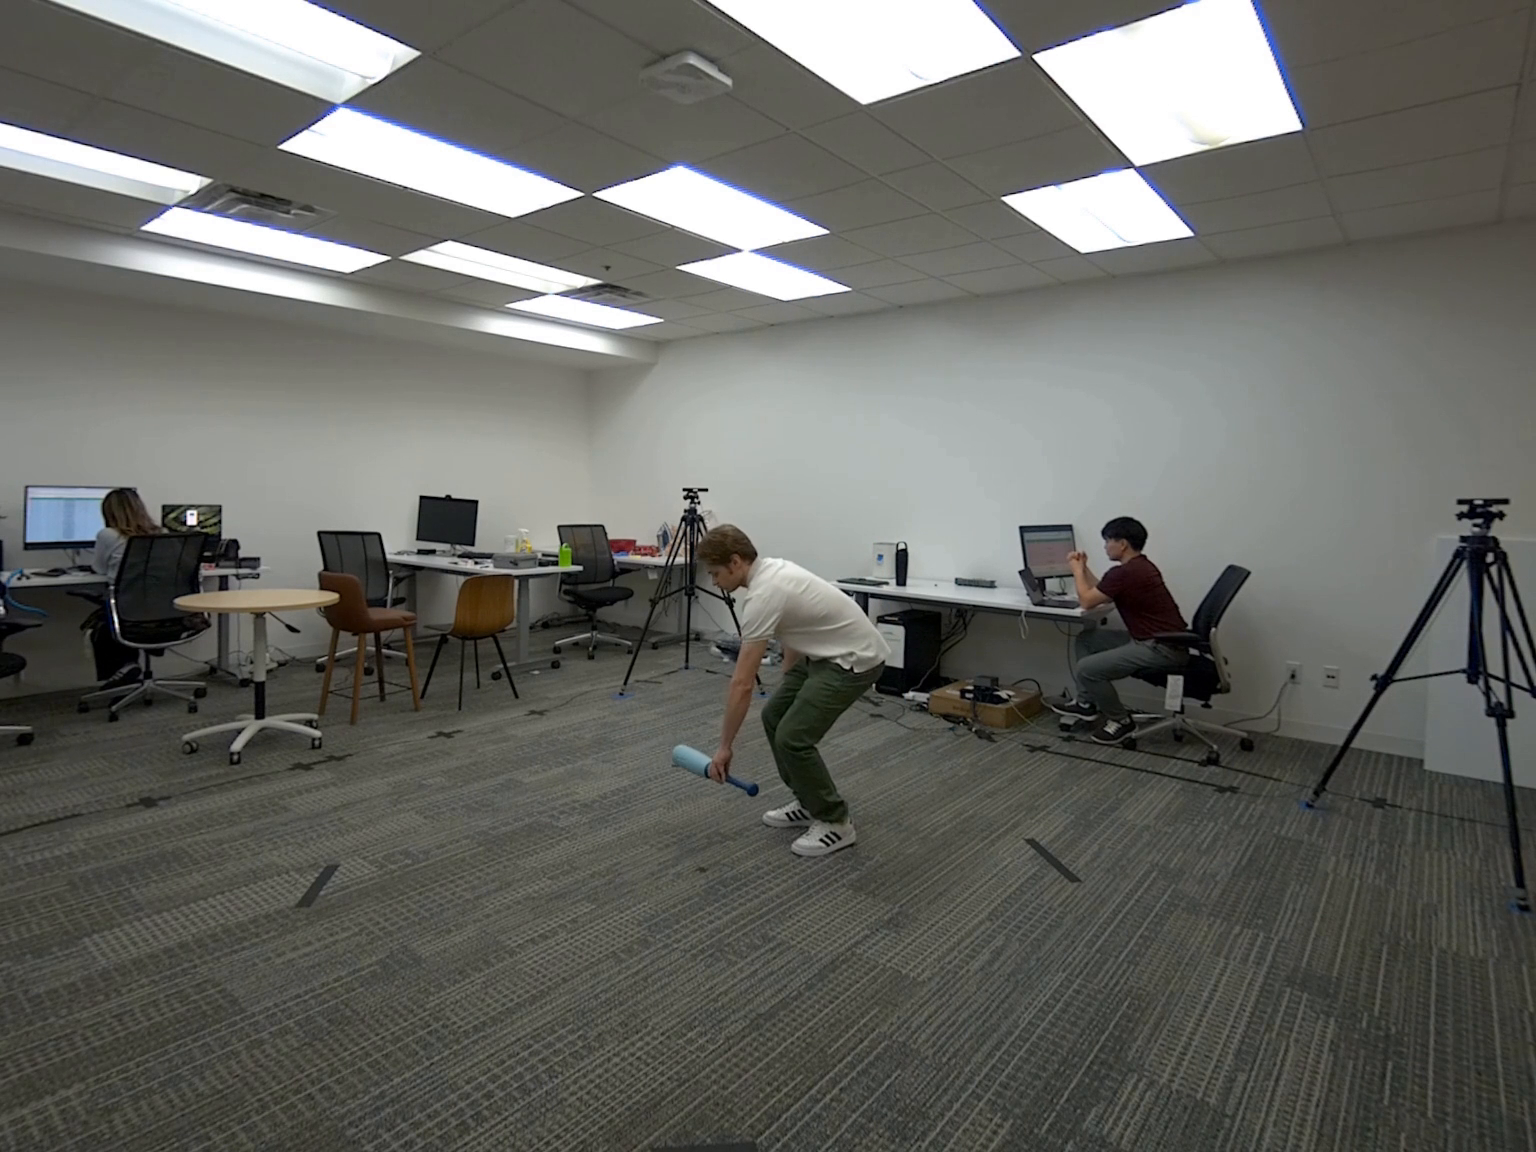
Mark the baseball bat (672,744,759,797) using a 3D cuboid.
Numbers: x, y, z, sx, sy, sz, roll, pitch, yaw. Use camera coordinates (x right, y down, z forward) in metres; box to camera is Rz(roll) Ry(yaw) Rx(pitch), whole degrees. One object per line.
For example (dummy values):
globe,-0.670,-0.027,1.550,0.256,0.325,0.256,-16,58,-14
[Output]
baseball bat,-0.222,0.766,3.343,0.086,0.089,0.561,-2,6,-35
